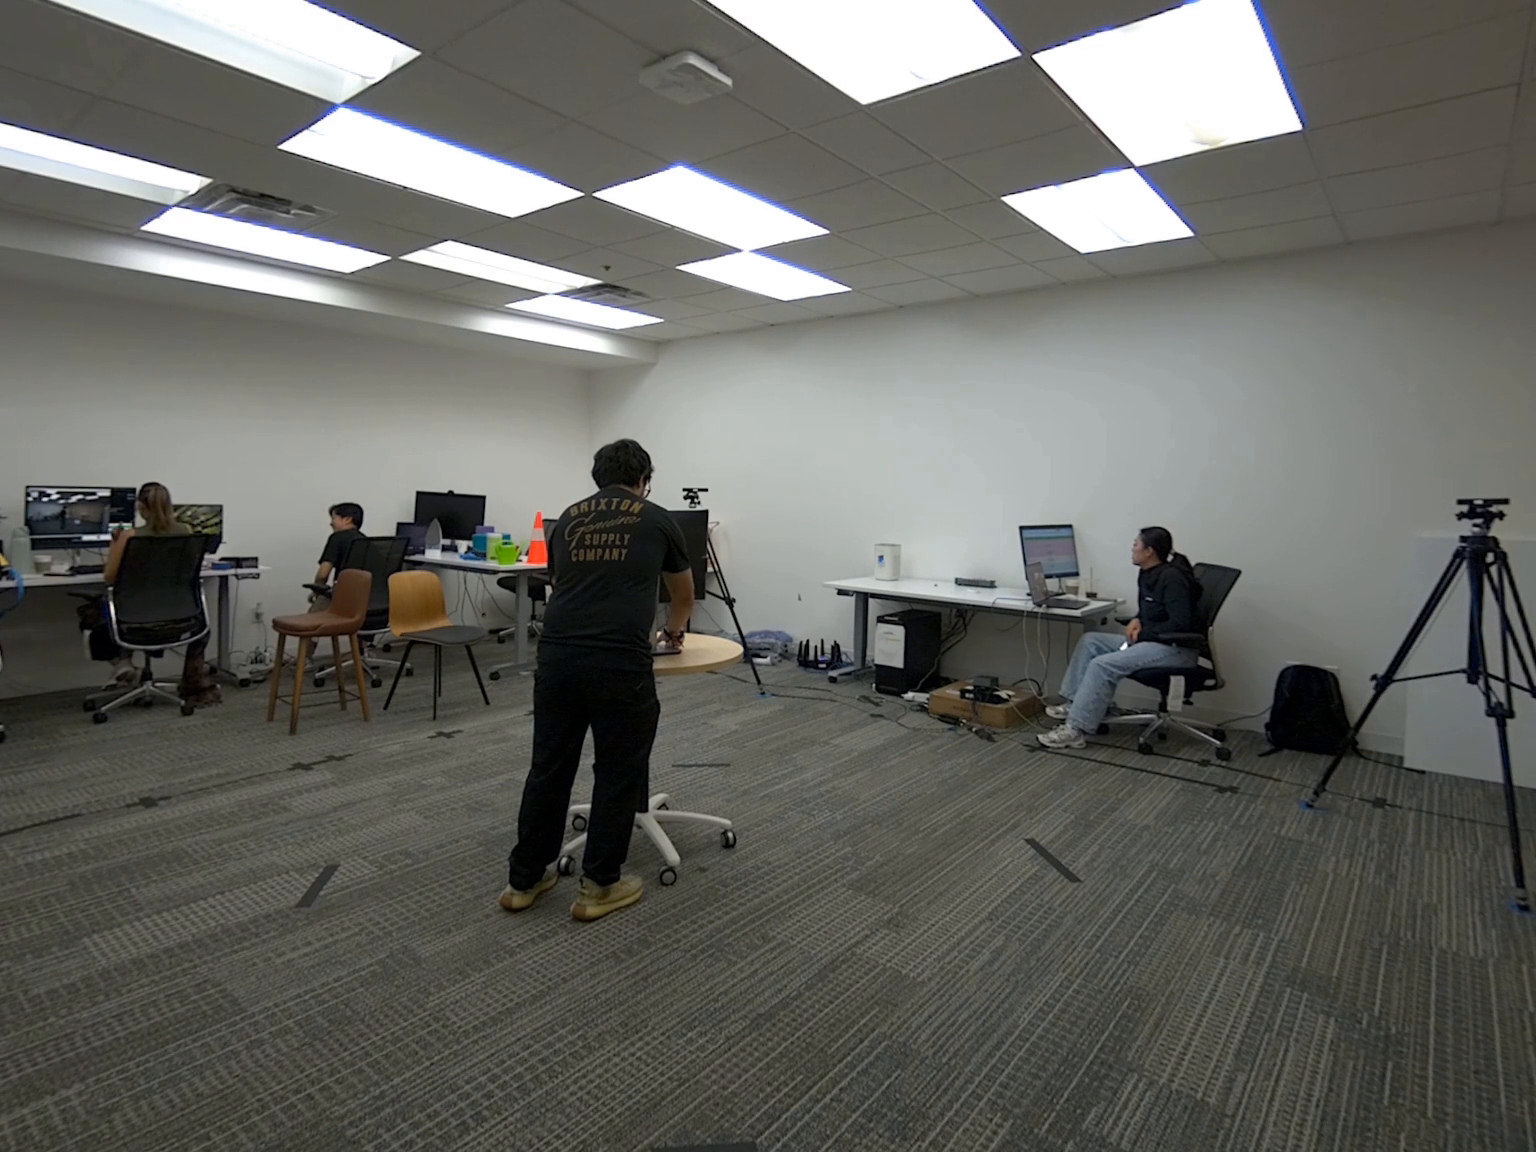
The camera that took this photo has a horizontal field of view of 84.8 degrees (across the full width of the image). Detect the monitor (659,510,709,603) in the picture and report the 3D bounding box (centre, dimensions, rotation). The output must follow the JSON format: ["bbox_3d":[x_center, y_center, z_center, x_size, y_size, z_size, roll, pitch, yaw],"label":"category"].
[{"bbox_3d":[-0.470,0.019,3.150,0.551,0.552,0.216,-1,5,-27],"label":"monitor"}]
